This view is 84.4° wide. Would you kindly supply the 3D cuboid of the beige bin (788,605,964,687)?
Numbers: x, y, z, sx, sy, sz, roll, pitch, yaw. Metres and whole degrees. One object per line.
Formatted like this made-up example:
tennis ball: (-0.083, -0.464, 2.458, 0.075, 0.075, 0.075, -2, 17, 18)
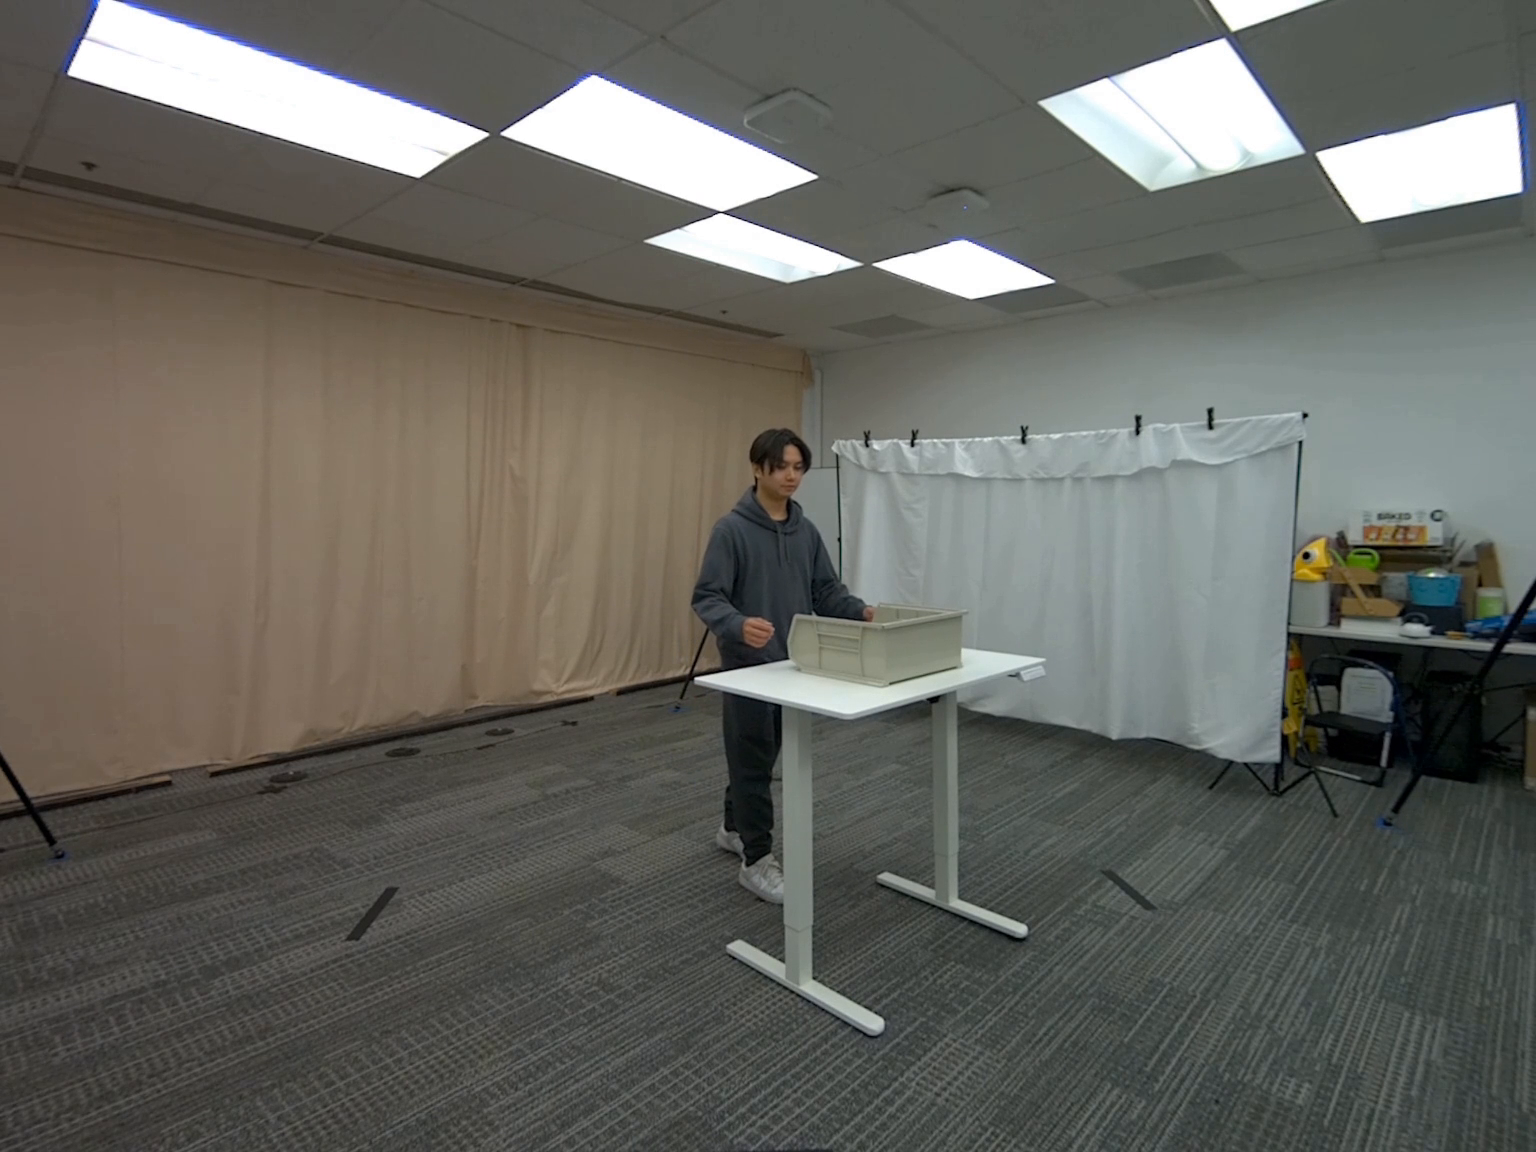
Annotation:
beige bin: (0.343, 0.204, 2.613, 0.409, 0.188, 0.390, -4, 6, -43)
